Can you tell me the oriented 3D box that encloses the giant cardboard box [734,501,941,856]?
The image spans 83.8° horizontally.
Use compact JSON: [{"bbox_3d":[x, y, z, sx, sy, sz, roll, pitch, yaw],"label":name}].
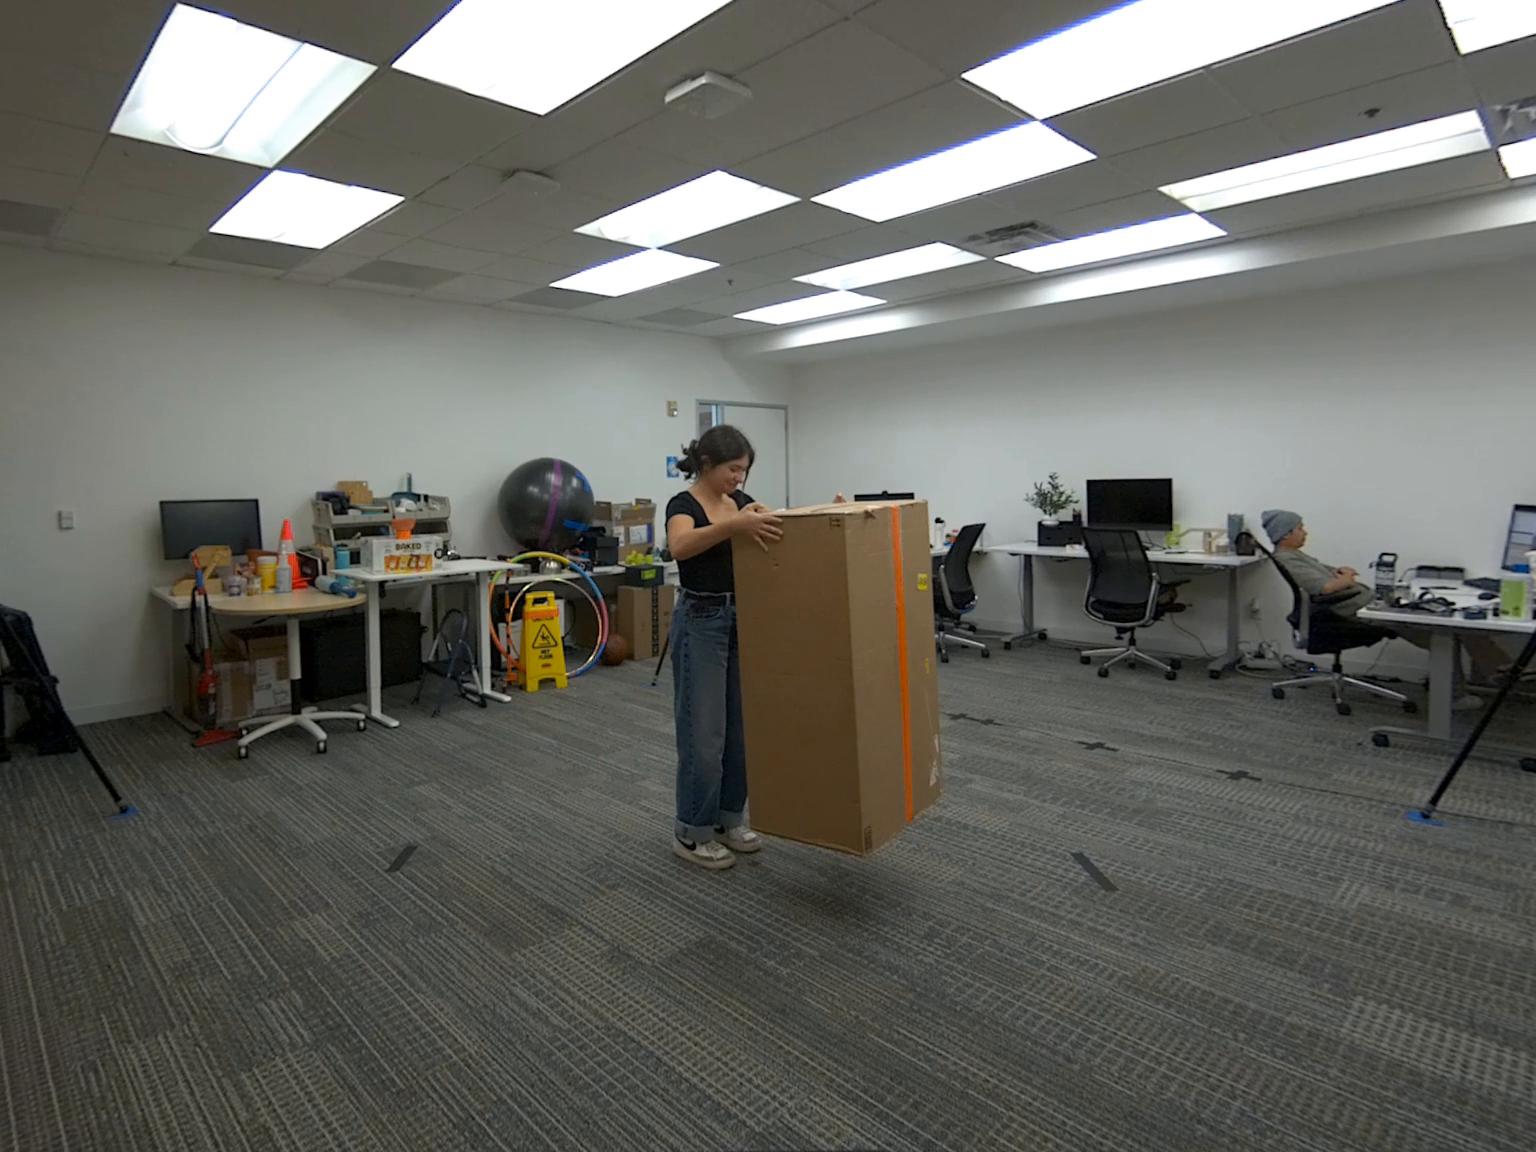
[{"bbox_3d":[0.244,0.292,2.826,0.438,1.022,0.564,-1,5,37],"label":"giant cardboard box"}]
